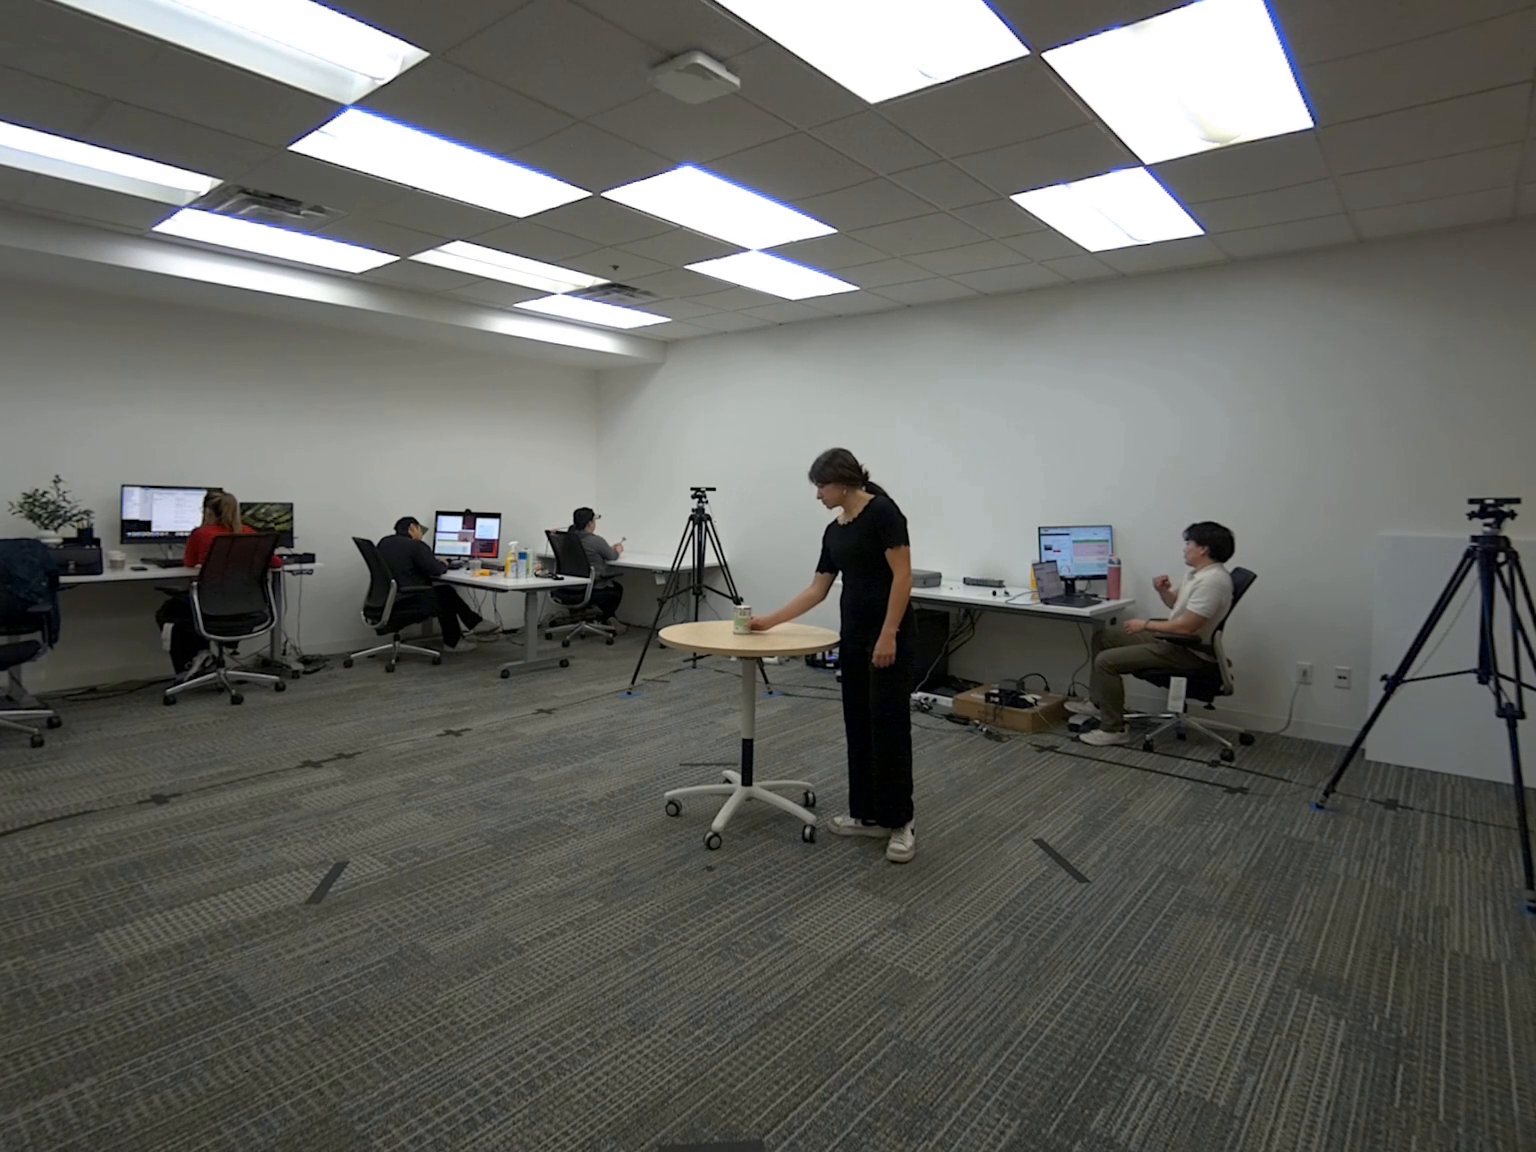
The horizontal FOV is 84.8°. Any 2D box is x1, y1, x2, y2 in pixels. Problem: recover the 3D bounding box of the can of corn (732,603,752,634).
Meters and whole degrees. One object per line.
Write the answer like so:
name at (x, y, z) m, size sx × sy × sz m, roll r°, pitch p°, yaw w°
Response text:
can of corn at (-0.122, 0.181, 3.591) m, size 0.074 × 0.111 × 0.074 m, roll 6°, pitch 0°, yaw -2°
